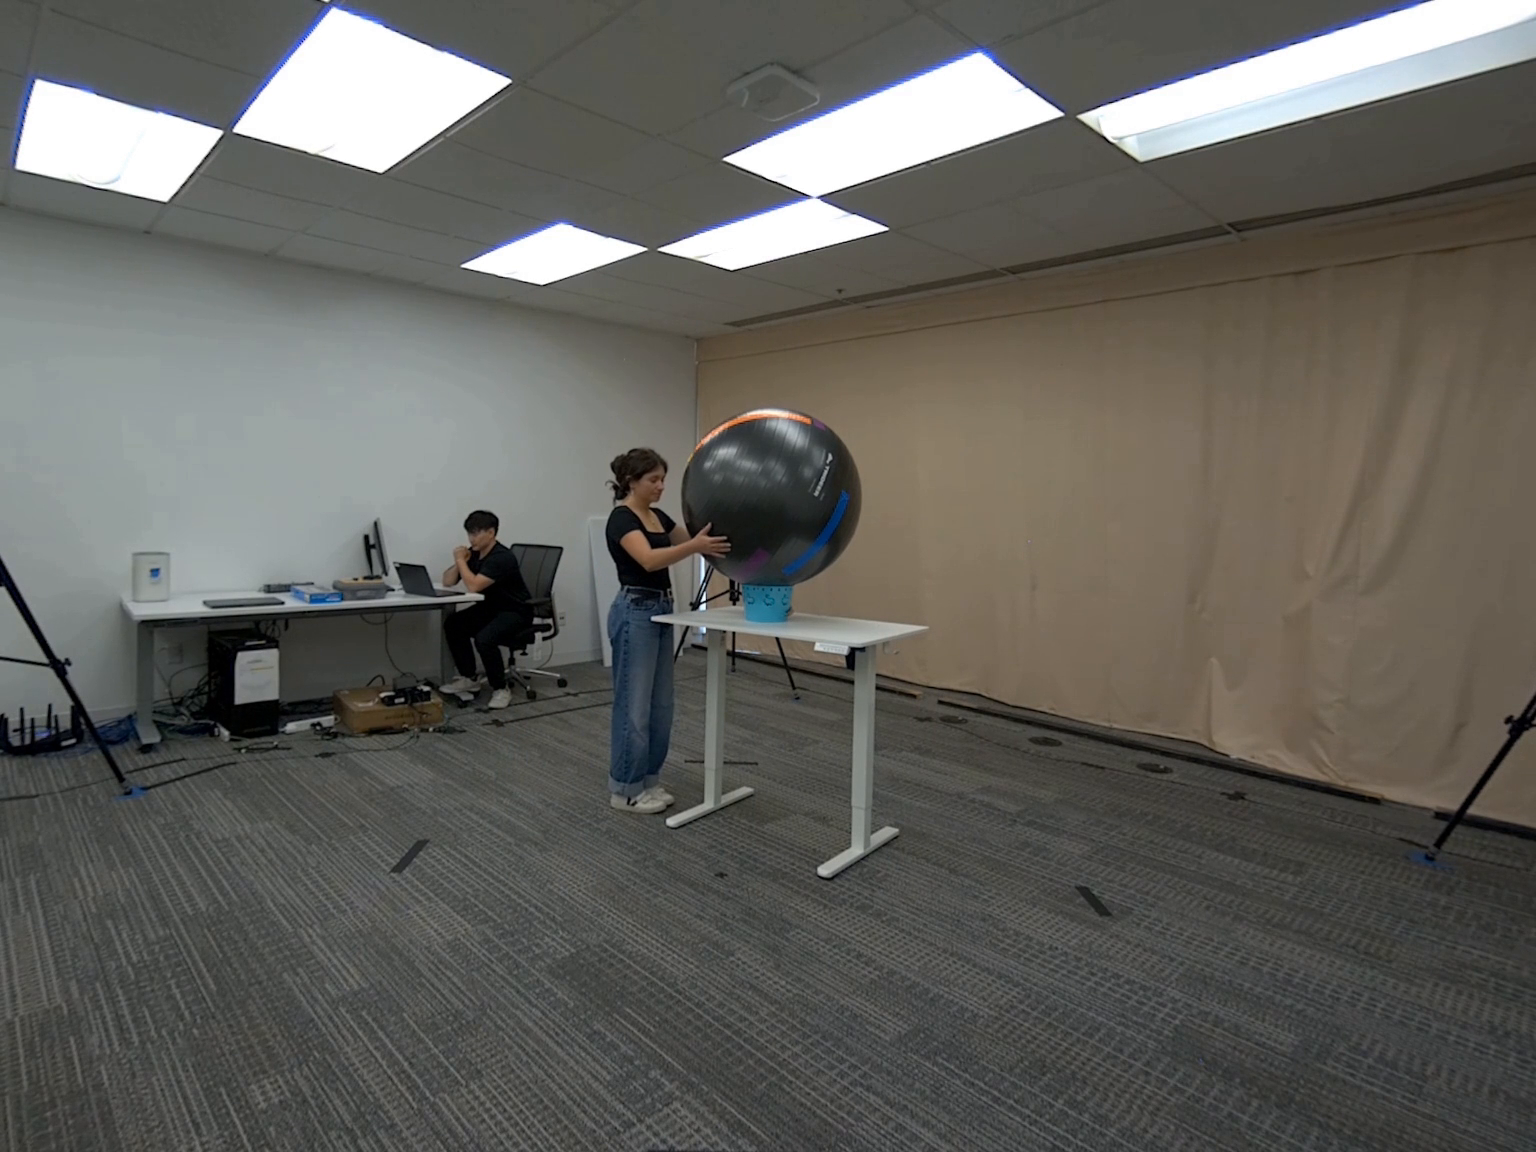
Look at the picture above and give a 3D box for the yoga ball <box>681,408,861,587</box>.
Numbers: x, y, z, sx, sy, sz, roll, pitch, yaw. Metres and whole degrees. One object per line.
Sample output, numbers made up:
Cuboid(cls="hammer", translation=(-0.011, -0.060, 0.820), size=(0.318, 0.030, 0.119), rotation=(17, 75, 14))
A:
Cuboid(cls="yoga ball", translation=(0.004, -0.323, 3.556), size=(0.757, 0.756, 0.761), rotation=(1, 4, -1))
